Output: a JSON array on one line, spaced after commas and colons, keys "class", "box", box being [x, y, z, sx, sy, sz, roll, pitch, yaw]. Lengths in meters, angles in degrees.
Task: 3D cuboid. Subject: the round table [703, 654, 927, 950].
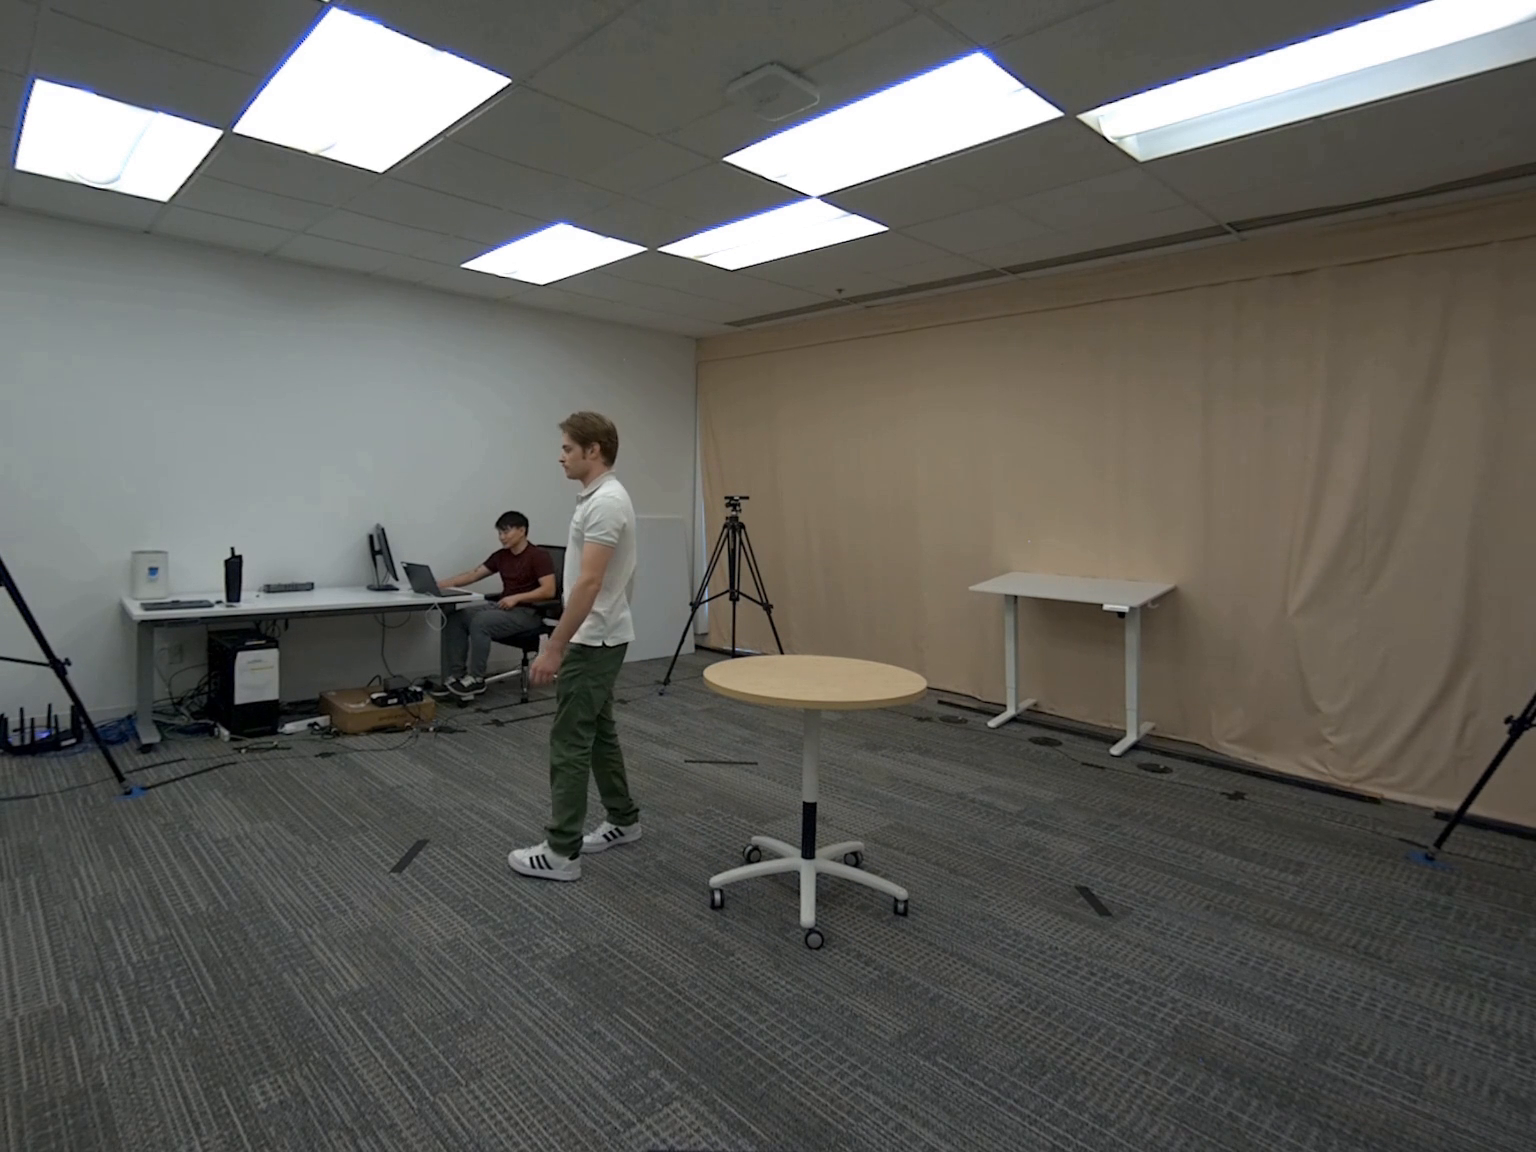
[{"class": "round table", "box": [0.145, 0.738, 2.927, 0.763, 0.792, 0.766, 1, 4, -1]}]
